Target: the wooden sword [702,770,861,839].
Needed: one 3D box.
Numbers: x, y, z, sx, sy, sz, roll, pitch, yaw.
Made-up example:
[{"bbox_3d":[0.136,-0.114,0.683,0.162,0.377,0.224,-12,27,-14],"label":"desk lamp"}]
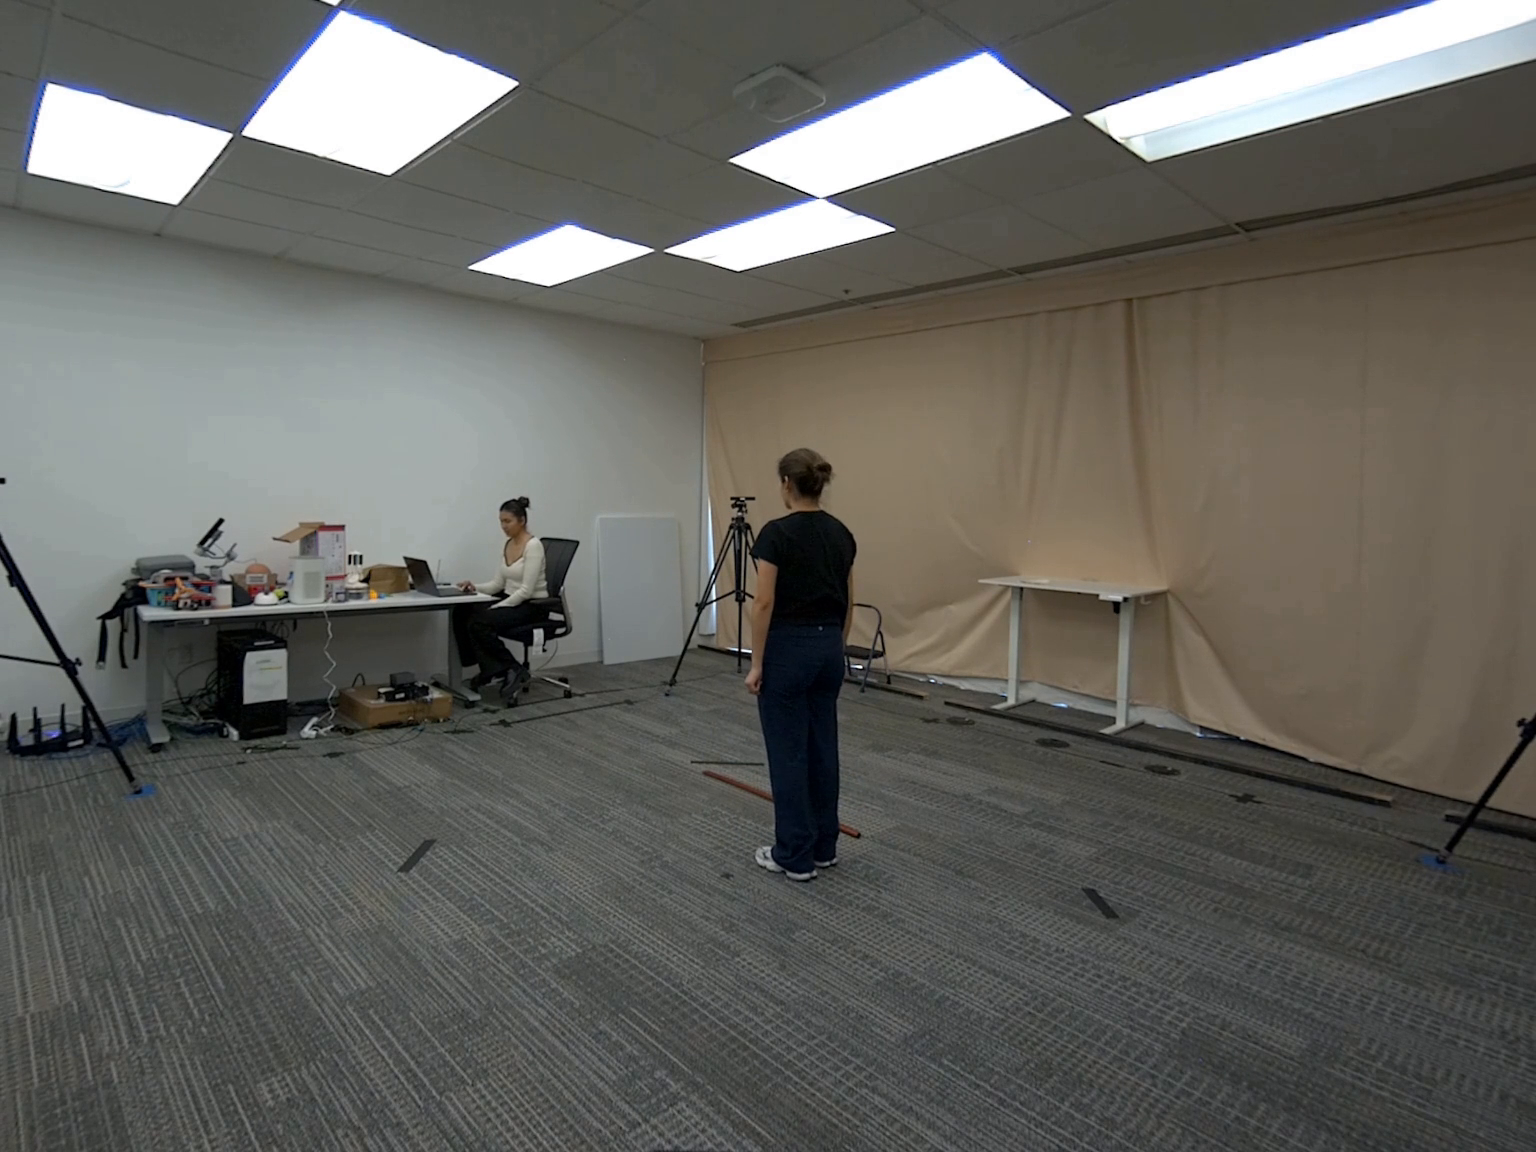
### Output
[{"bbox_3d":[0.018,1.018,3.868,0.050,0.024,1.051,19,-8,-42],"label":"wooden sword"}]
